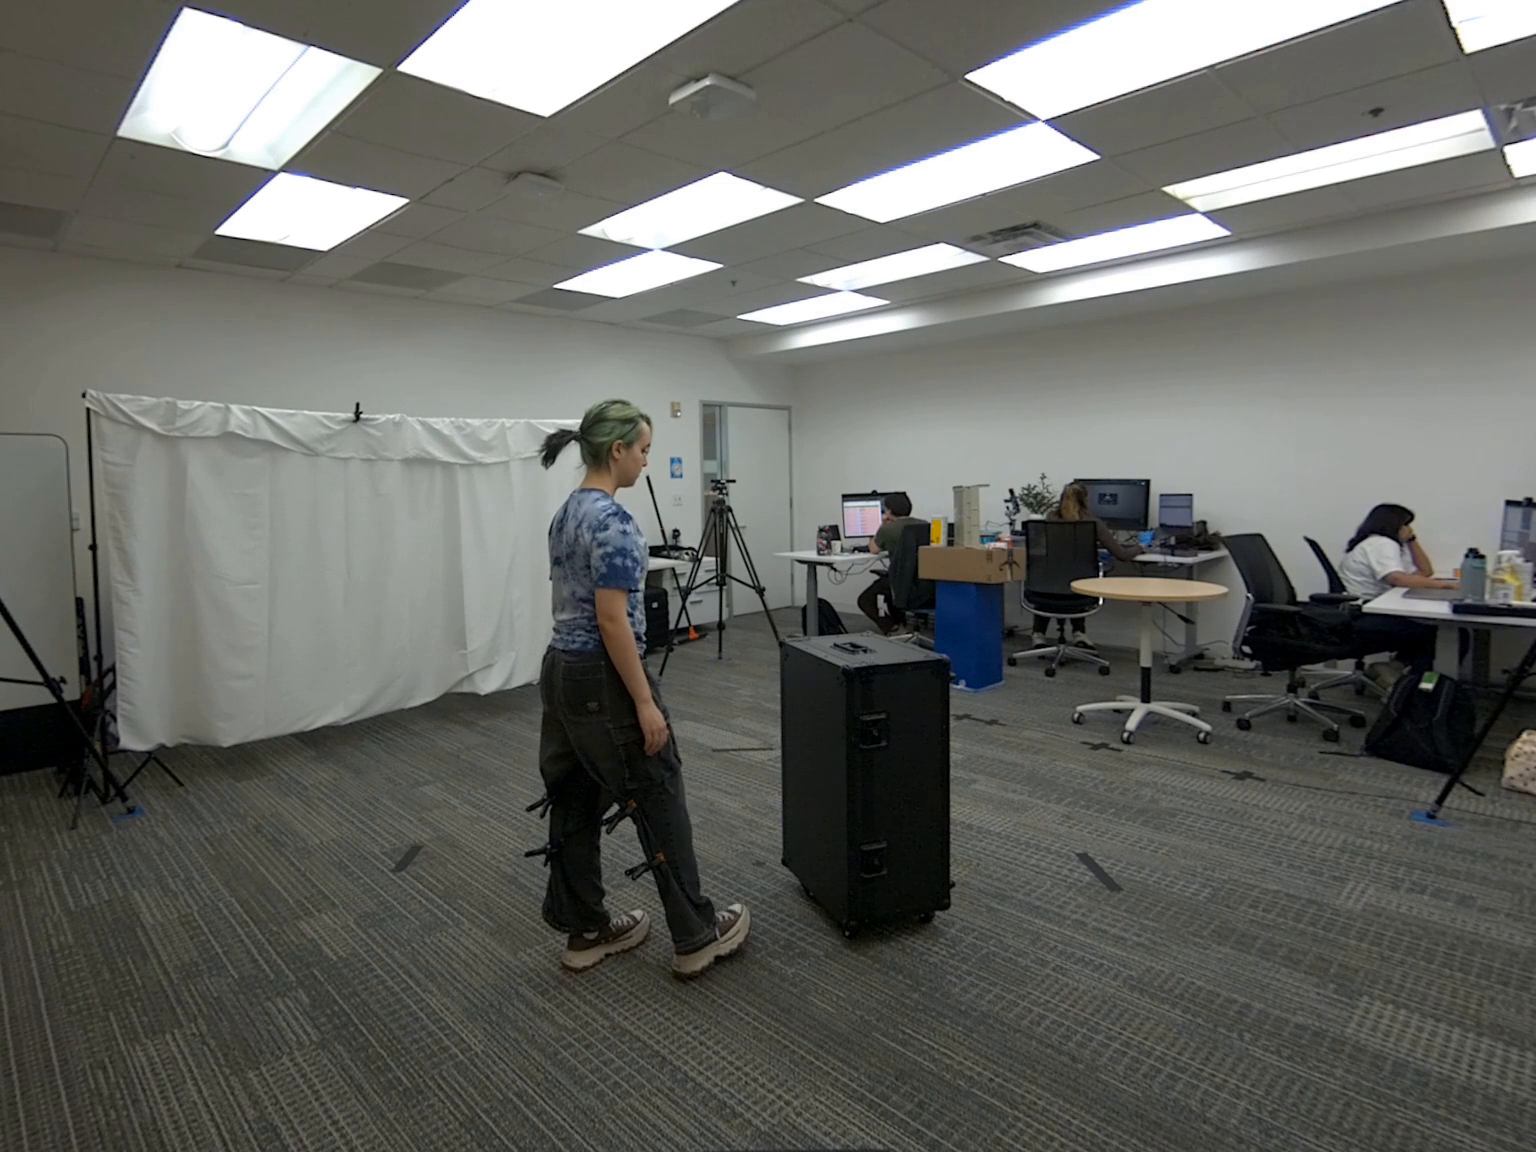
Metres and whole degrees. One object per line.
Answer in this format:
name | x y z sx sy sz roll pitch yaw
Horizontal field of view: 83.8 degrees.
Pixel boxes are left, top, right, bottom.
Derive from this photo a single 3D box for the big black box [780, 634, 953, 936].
big black box | 0.311 0.595 2.756 0.389 0.859 0.533 -2 4 -22
